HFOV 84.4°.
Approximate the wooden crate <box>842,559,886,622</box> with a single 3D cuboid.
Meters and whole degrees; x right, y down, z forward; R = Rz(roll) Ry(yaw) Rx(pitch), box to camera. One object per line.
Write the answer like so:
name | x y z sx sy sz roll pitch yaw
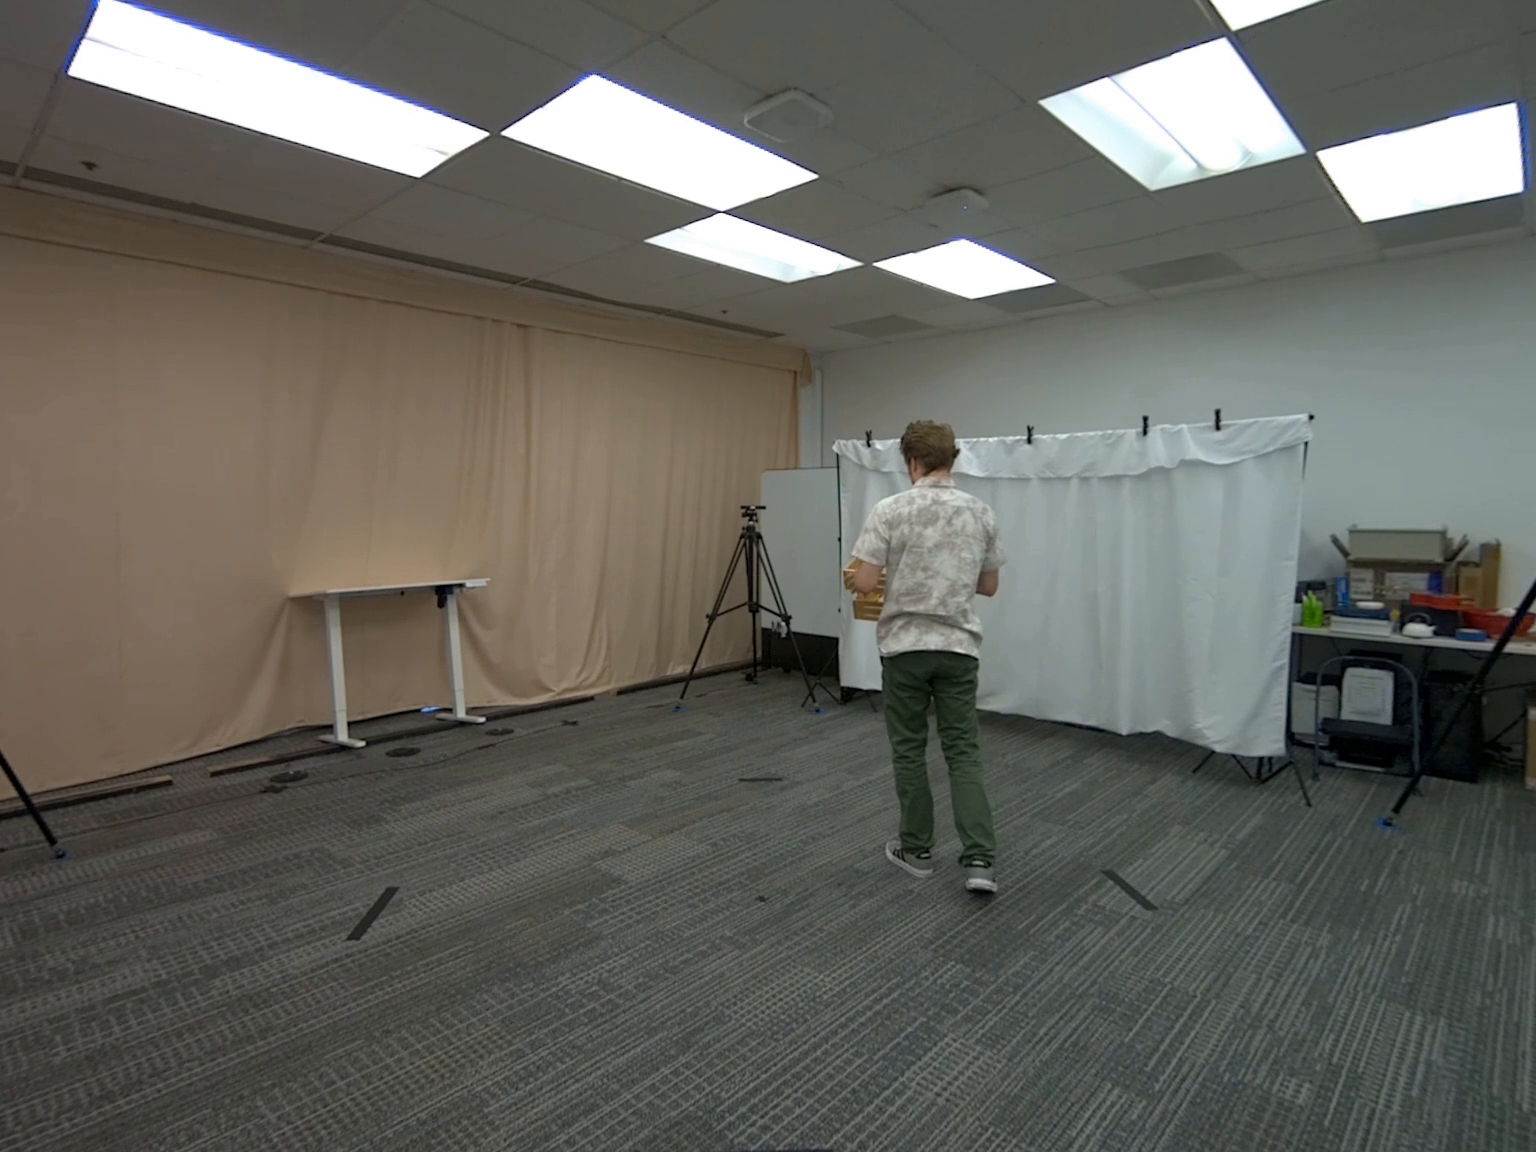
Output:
wooden crate | 0.543 0.038 3.619 0.334 0.269 0.298 4 26 31
